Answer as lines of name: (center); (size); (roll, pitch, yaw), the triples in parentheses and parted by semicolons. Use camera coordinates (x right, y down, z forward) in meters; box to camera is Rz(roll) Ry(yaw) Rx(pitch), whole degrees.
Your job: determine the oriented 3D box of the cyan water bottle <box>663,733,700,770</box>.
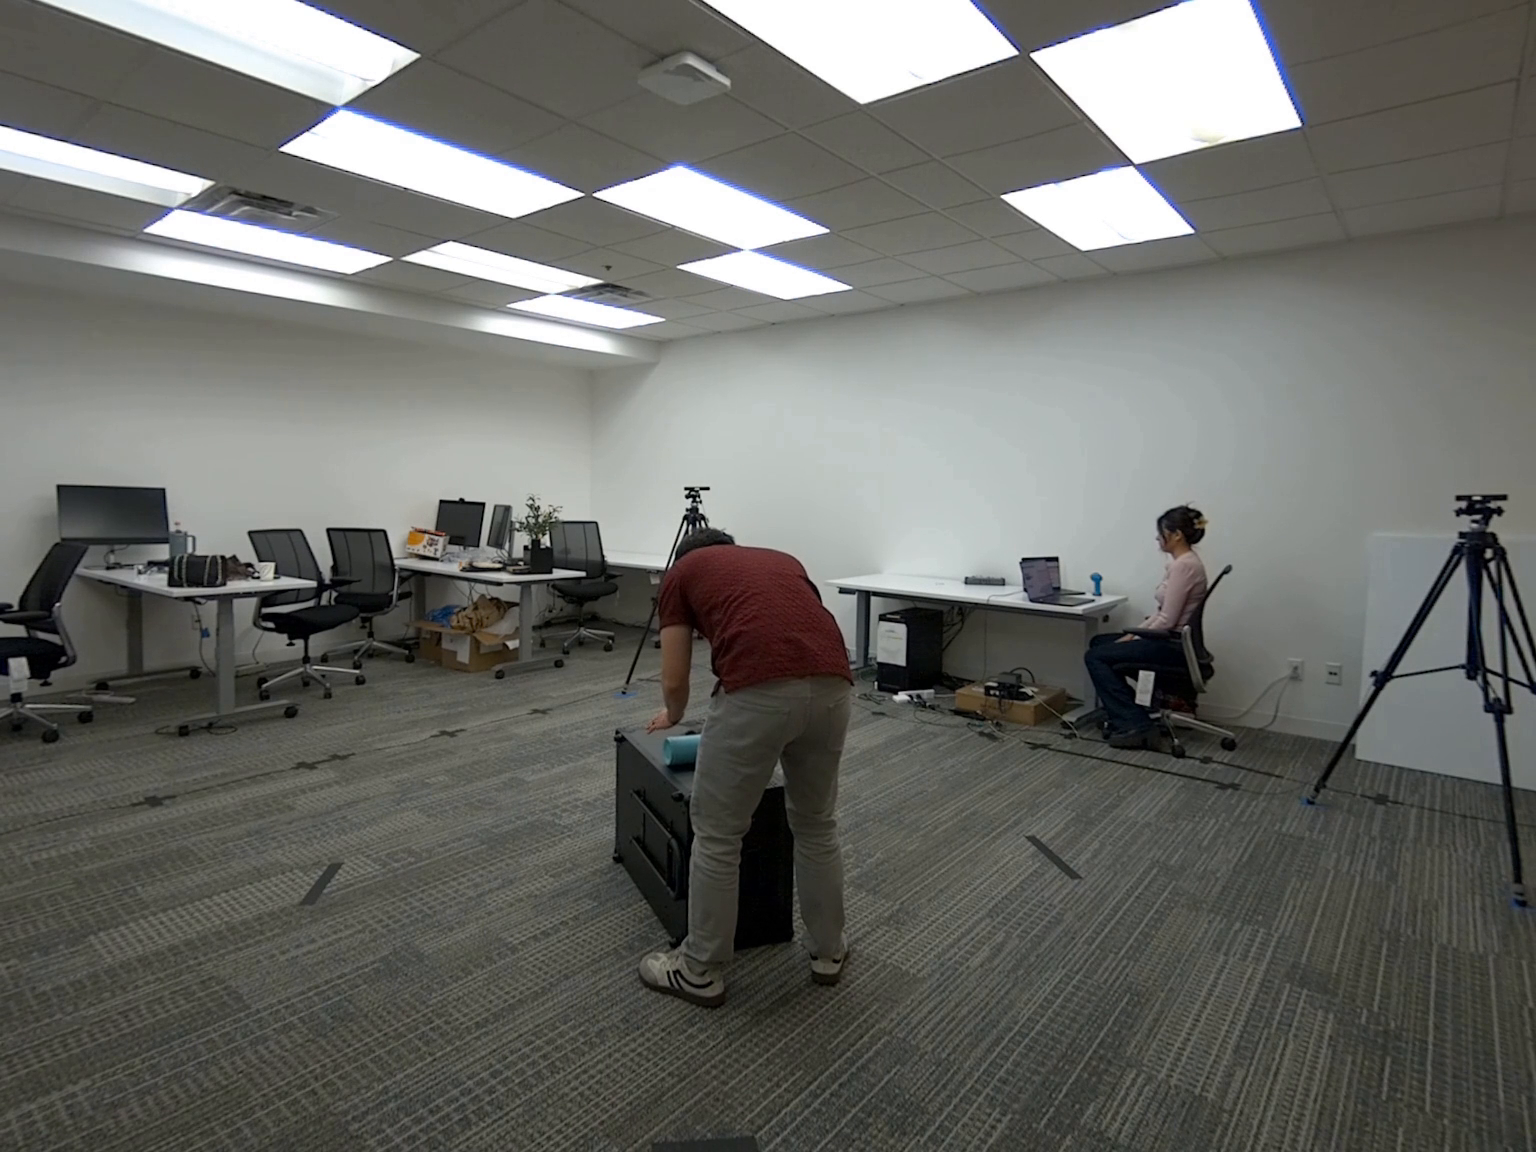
cyan water bottle: (-0.214, 0.561, 2.816); (0.277, 0.092, 0.095); (1, 4, -24)
